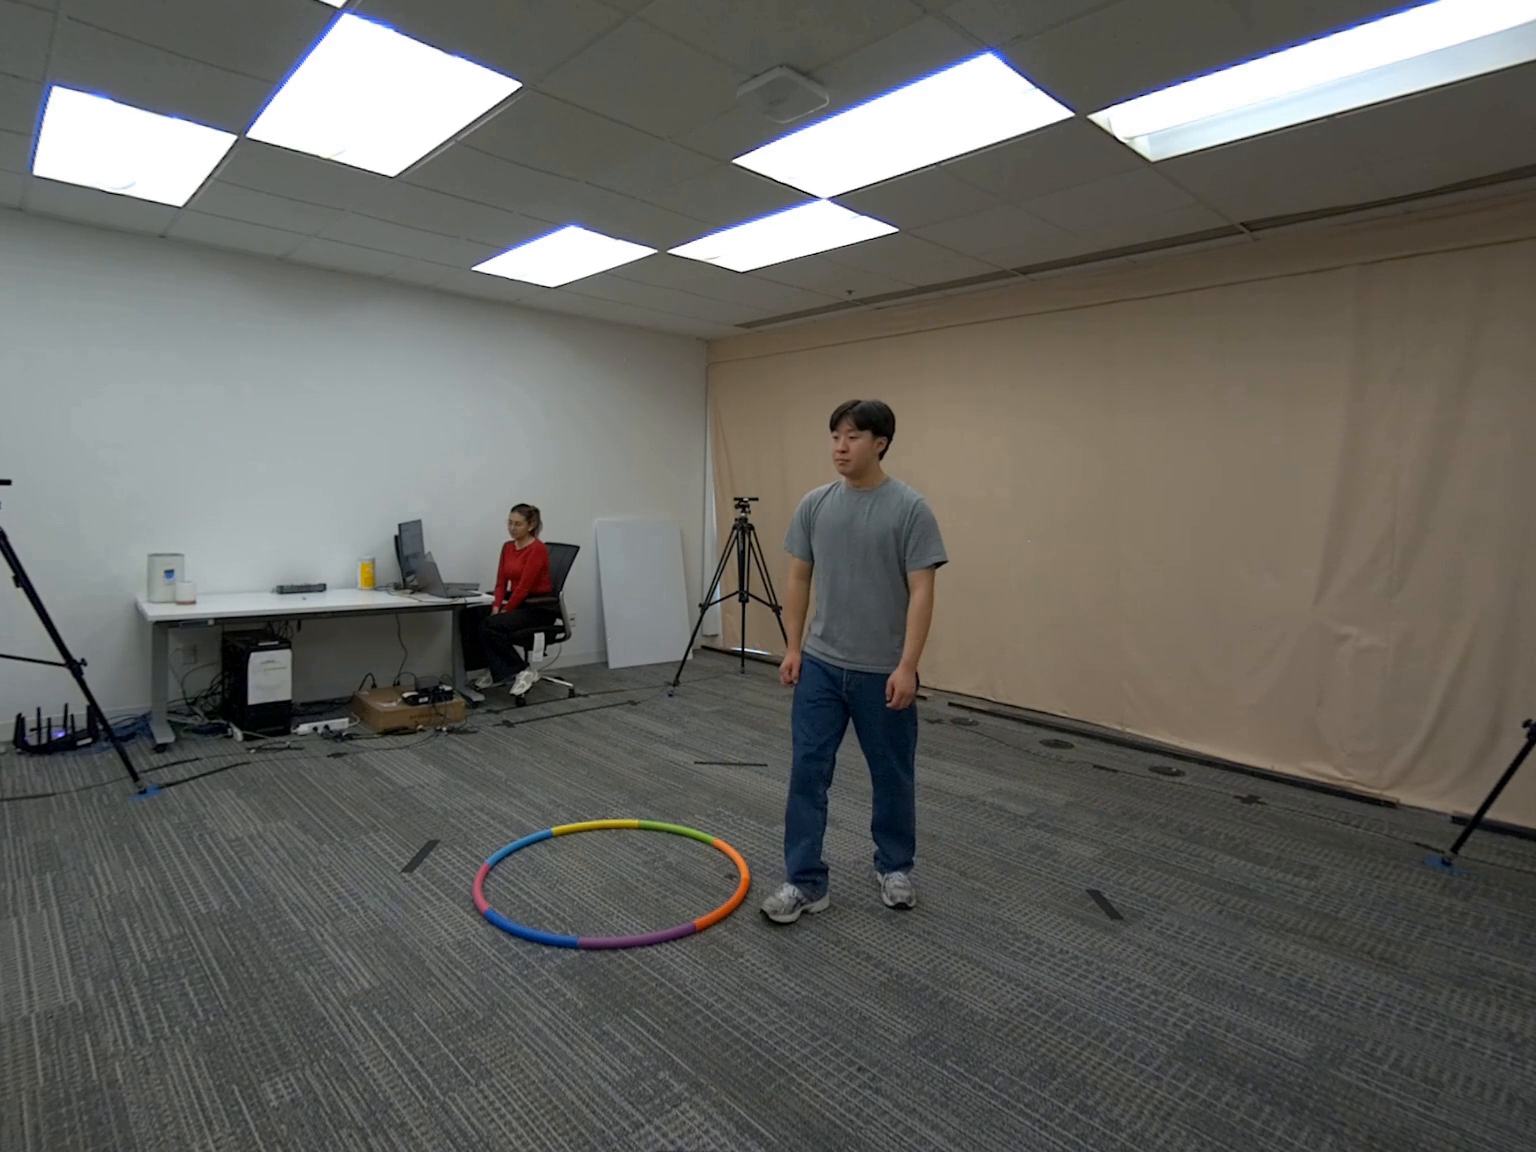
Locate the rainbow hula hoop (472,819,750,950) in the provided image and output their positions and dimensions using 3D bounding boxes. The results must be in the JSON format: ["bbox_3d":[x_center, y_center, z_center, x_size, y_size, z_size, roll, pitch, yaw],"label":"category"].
[{"bbox_3d":[-0.568,1.068,3.058,0.978,0.035,0.982,2,5,-1],"label":"rainbow hula hoop"}]
